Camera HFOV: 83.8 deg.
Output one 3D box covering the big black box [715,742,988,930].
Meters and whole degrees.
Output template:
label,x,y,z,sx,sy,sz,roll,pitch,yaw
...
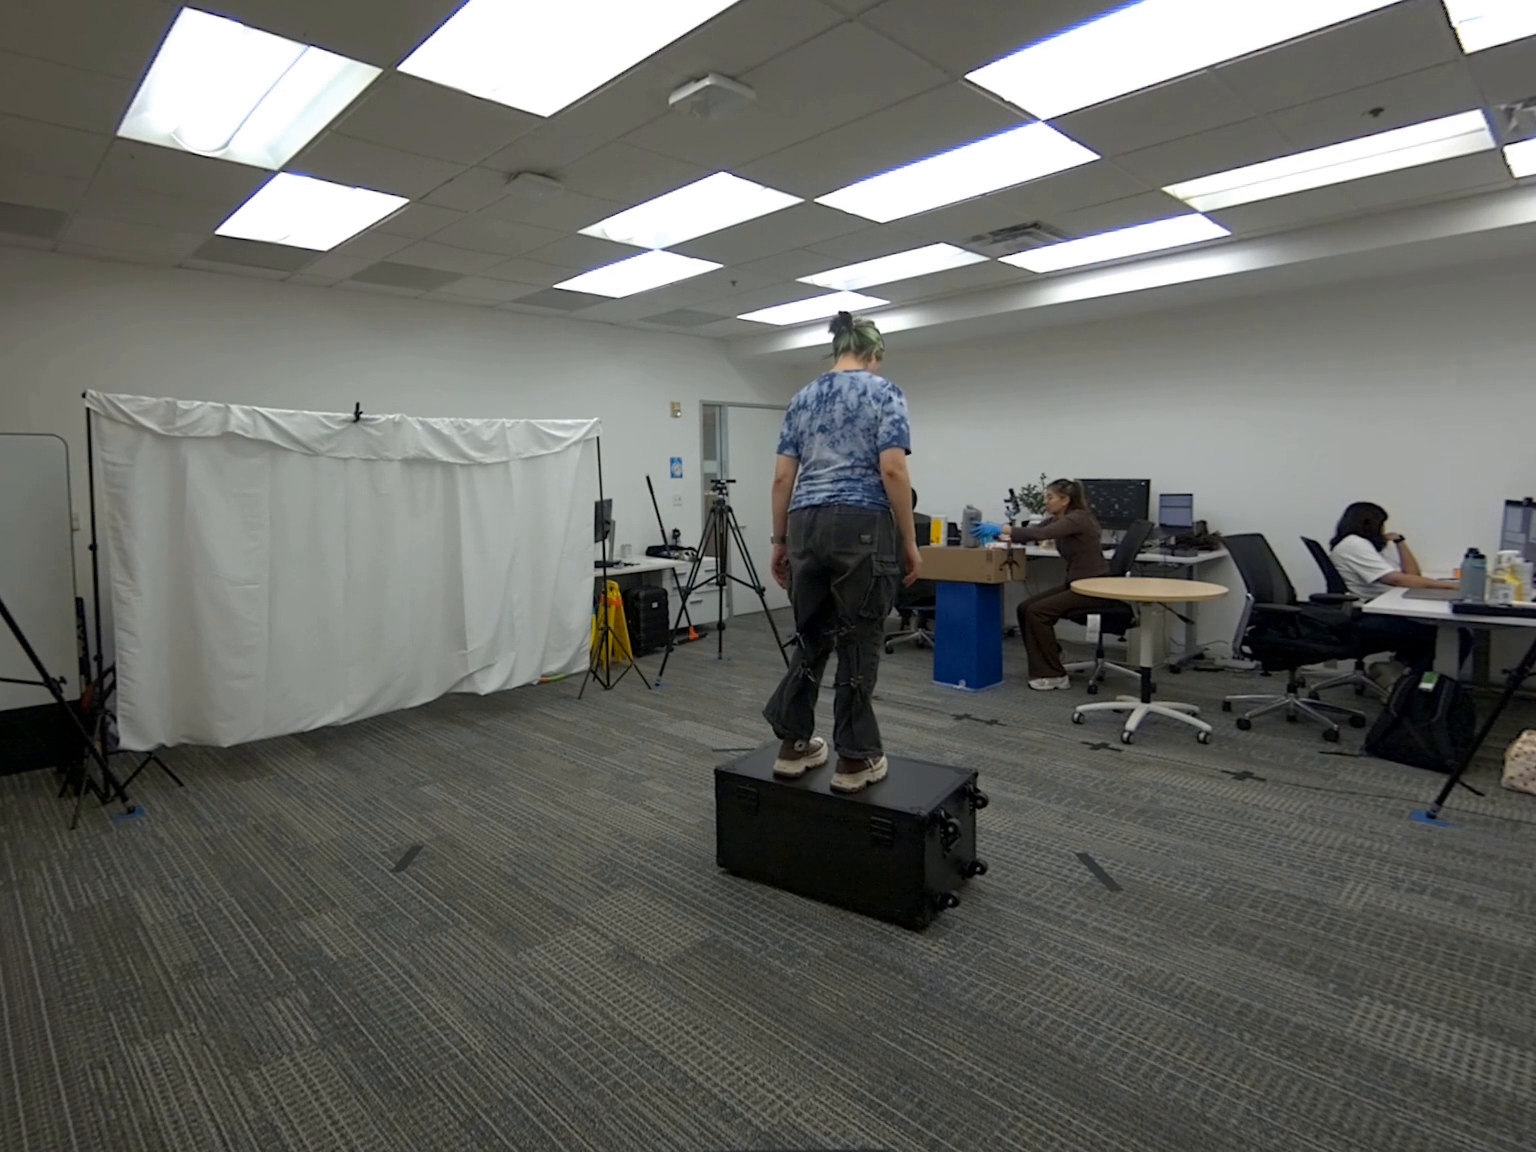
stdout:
label,x,y,z,sx,sy,sz,roll,pitch,yaw
big black box,0.298,0.866,2.981,0.886,0.395,0.509,3,6,34
